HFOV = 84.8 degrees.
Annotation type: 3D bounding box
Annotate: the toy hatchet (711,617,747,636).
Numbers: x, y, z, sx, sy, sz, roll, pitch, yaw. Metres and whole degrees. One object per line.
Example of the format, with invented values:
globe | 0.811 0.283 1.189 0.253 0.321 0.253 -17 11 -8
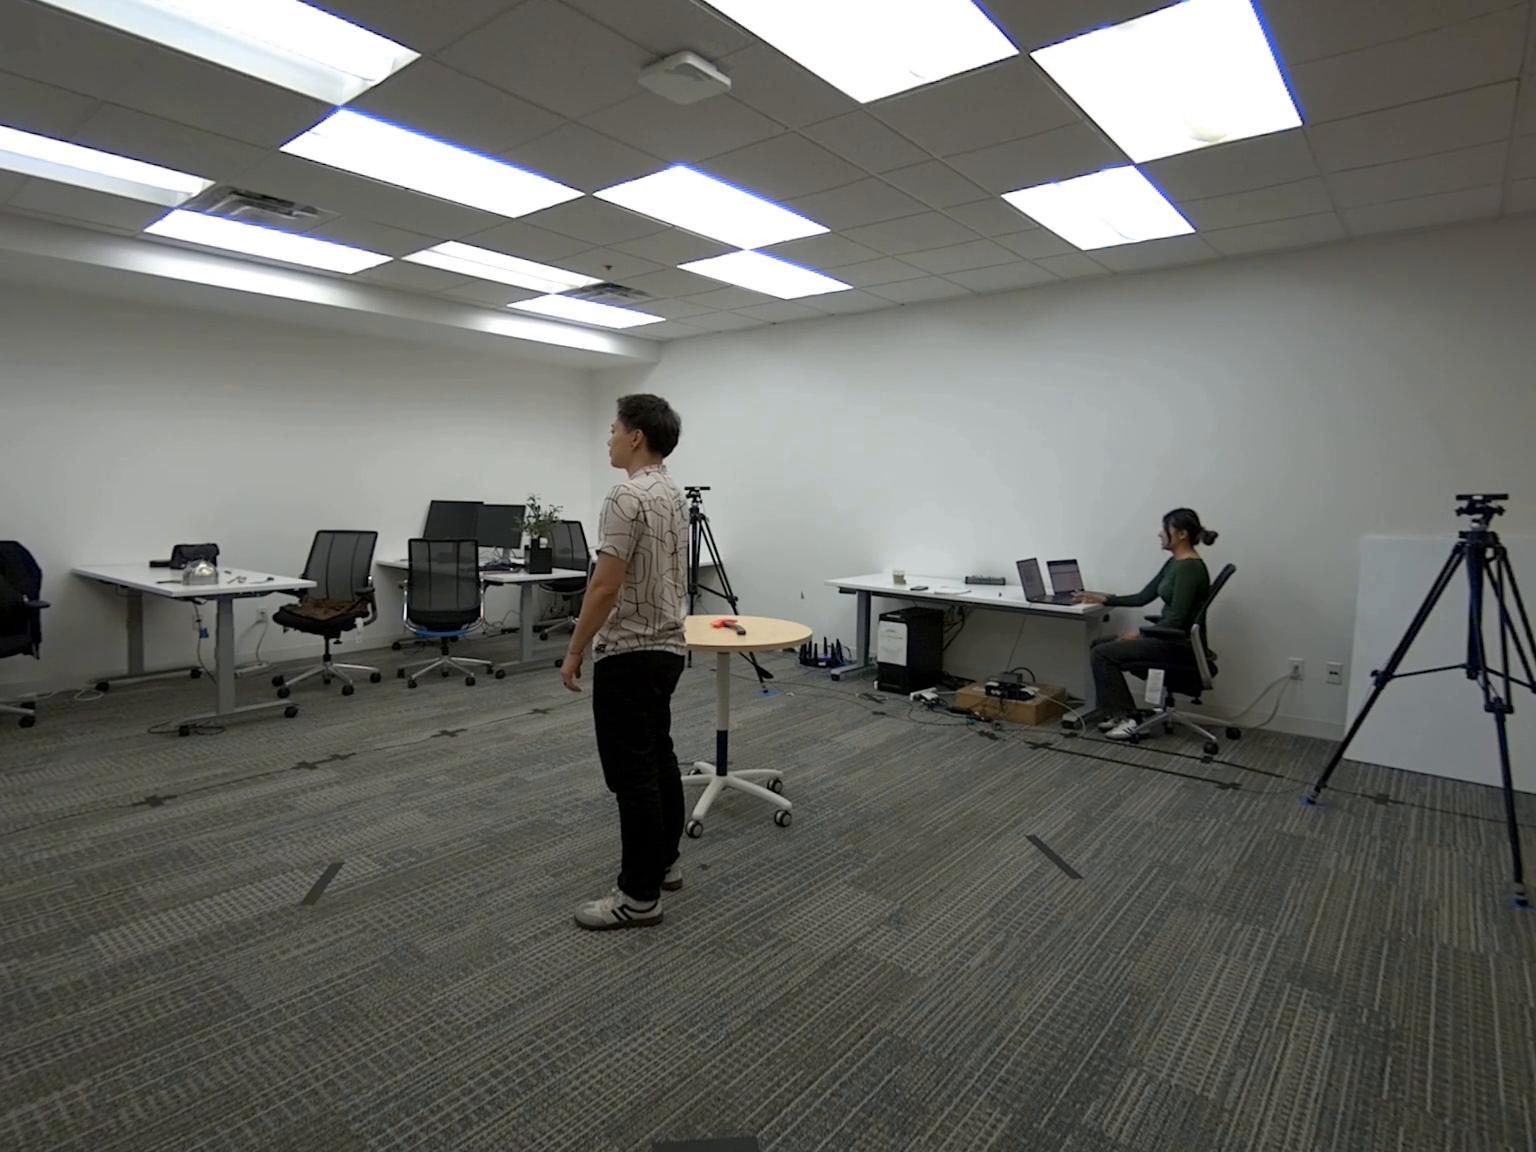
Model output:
toy hatchet | -0.182 0.215 3.652 0.130 0.029 0.274 -2 7 -10
